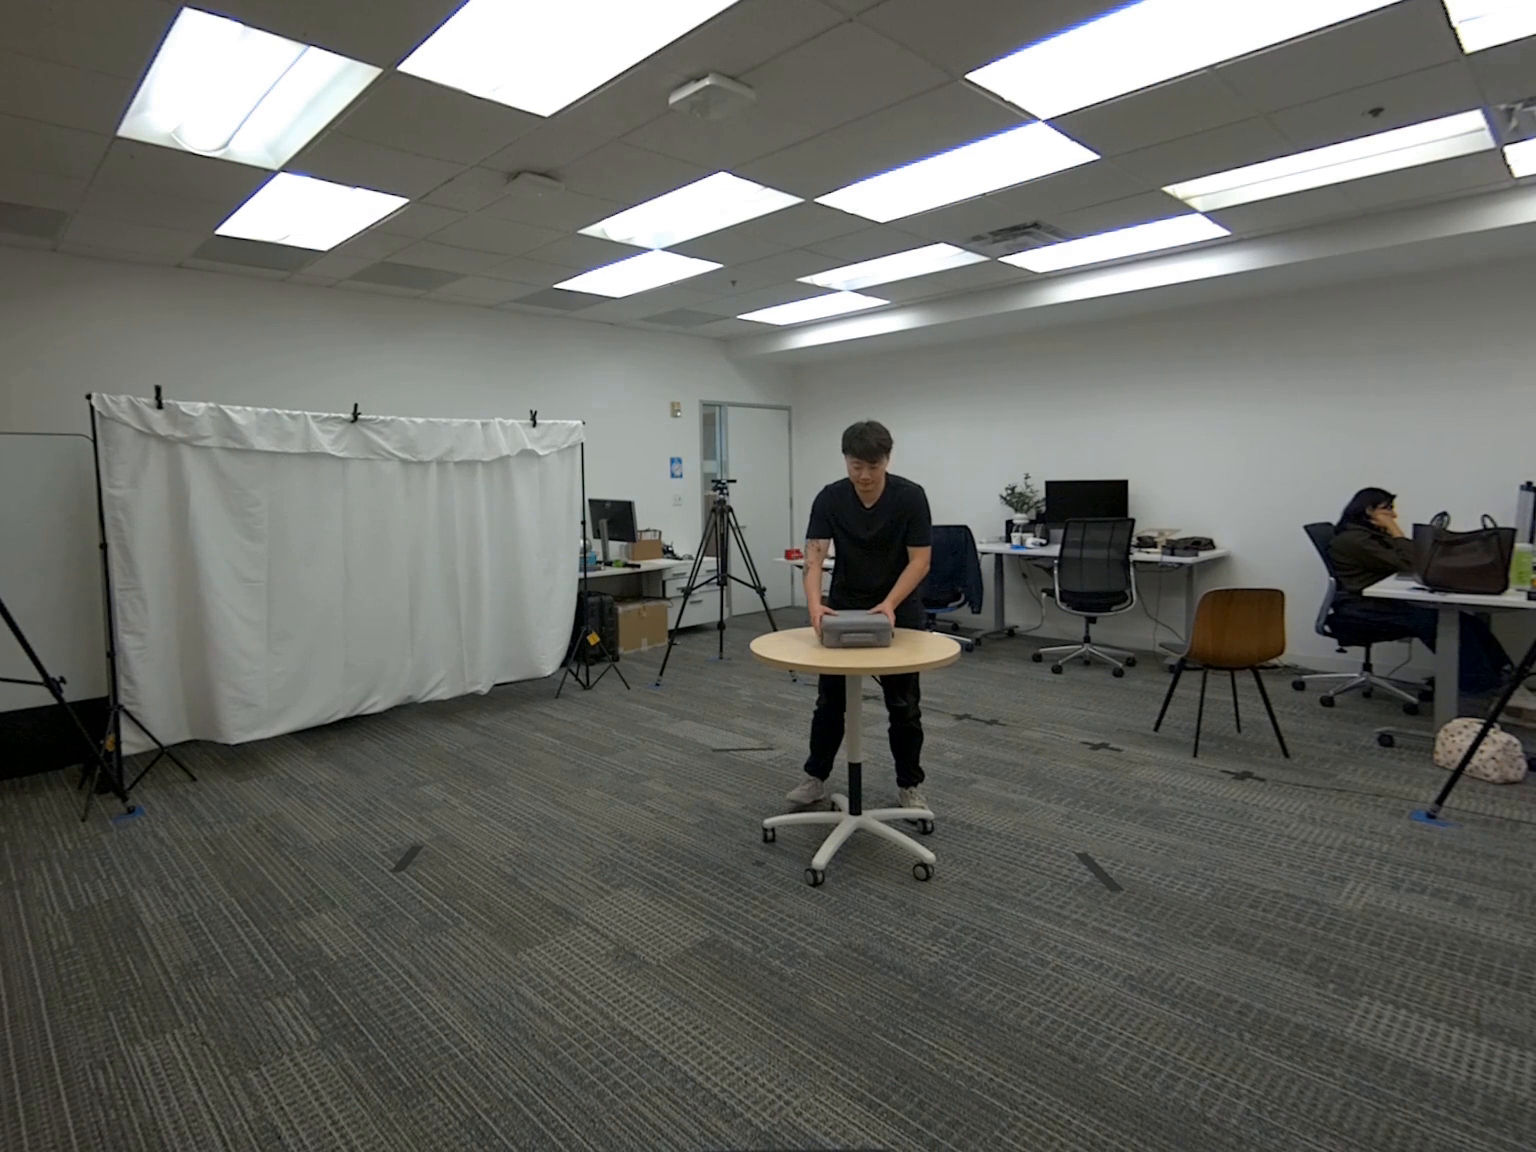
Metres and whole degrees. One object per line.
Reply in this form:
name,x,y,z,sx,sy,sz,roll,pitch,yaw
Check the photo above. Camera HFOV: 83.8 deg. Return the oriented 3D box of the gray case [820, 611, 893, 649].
gray case,0.320,0.195,3.190,0.257,0.104,0.261,1,5,0
